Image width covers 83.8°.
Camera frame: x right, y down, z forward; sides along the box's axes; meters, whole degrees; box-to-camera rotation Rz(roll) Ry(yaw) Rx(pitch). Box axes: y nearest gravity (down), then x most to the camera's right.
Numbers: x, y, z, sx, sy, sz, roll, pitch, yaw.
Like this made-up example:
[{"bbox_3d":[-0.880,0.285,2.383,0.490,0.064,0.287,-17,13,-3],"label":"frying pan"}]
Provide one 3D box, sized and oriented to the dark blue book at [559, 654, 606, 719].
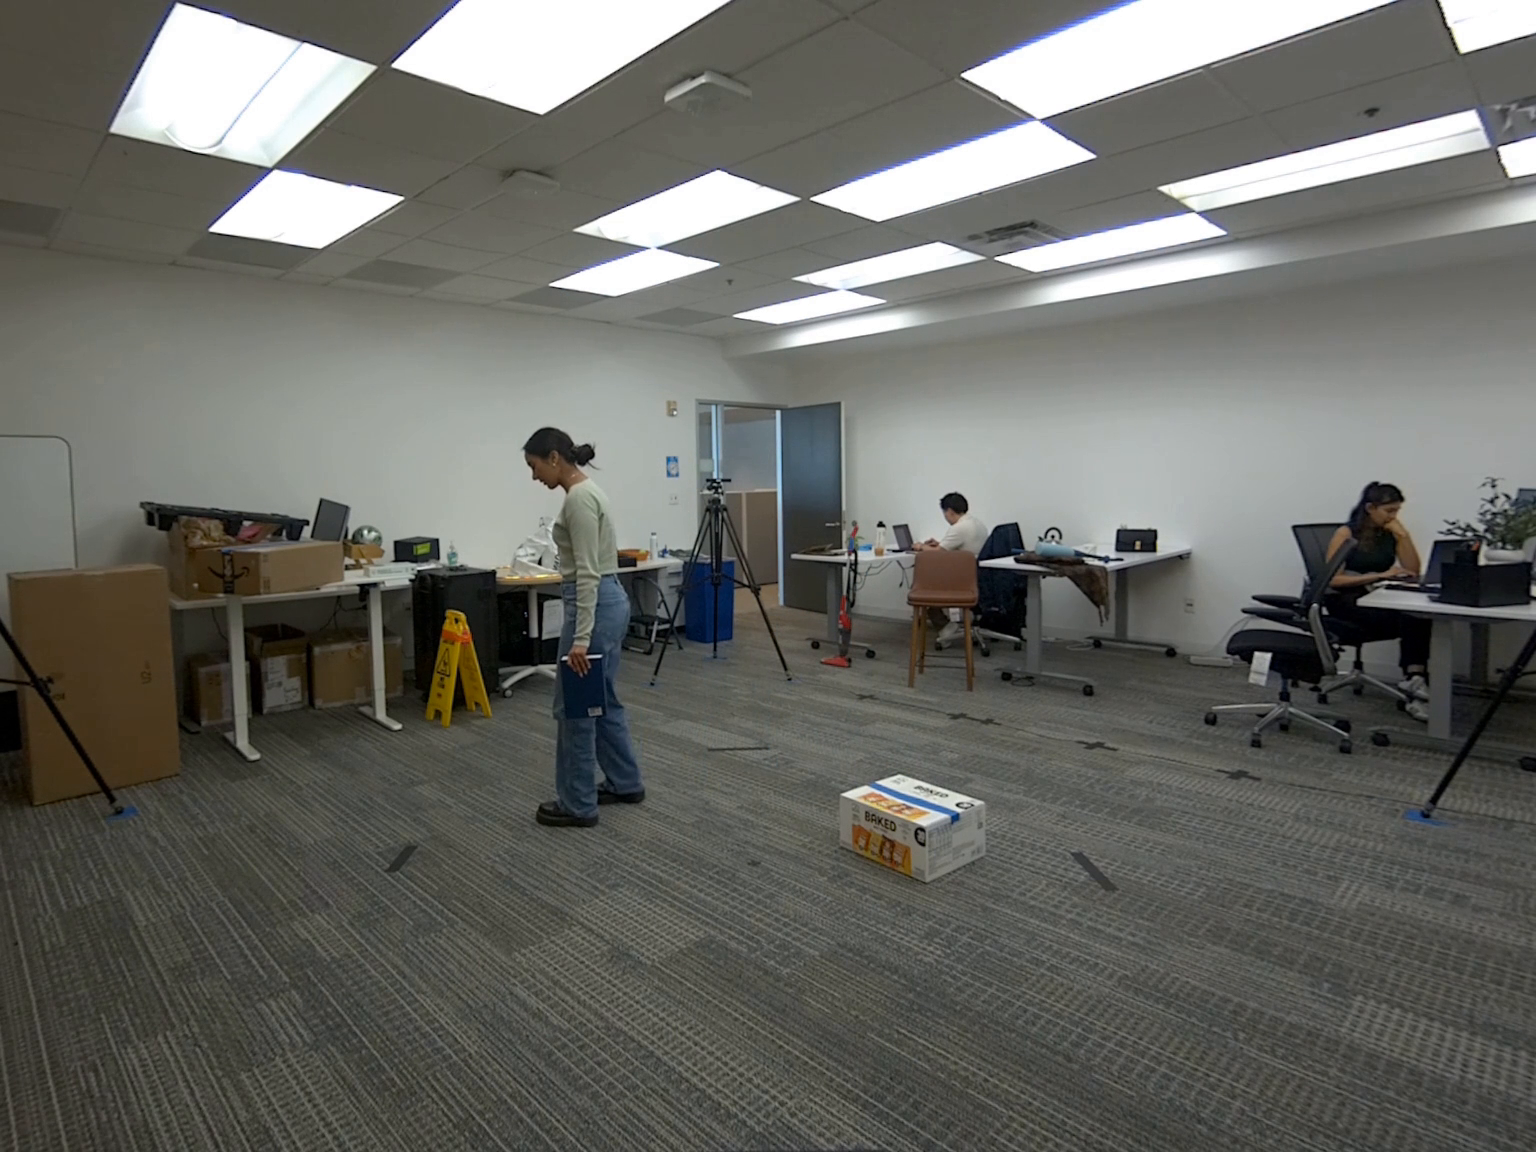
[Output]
[{"bbox_3d":[-0.733,0.434,3.323,0.163,0.243,0.045,-2,9,-1],"label":"dark blue book"}]
